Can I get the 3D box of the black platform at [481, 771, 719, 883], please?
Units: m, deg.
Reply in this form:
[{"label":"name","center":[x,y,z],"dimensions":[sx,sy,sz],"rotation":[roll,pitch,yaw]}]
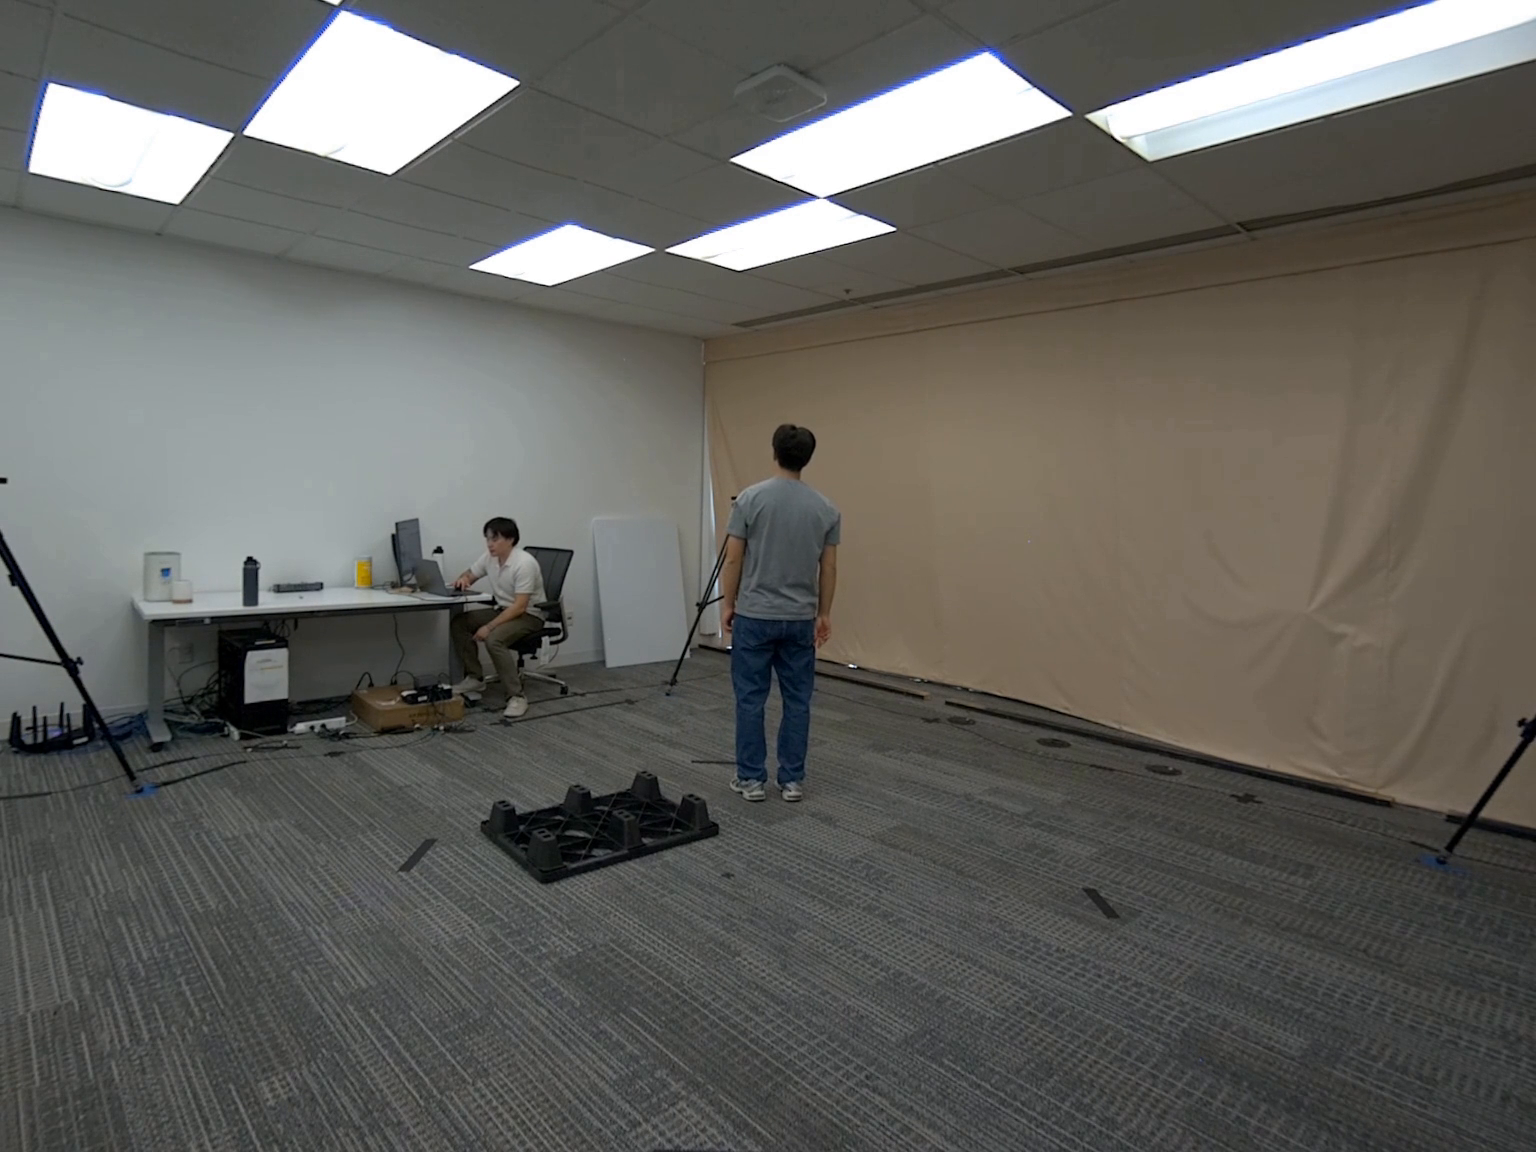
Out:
[{"label":"black platform","center":[-0.697,0.995,3.463],"dimensions":[0.787,0.143,0.620],"rotation":[-3,6,-39]}]
